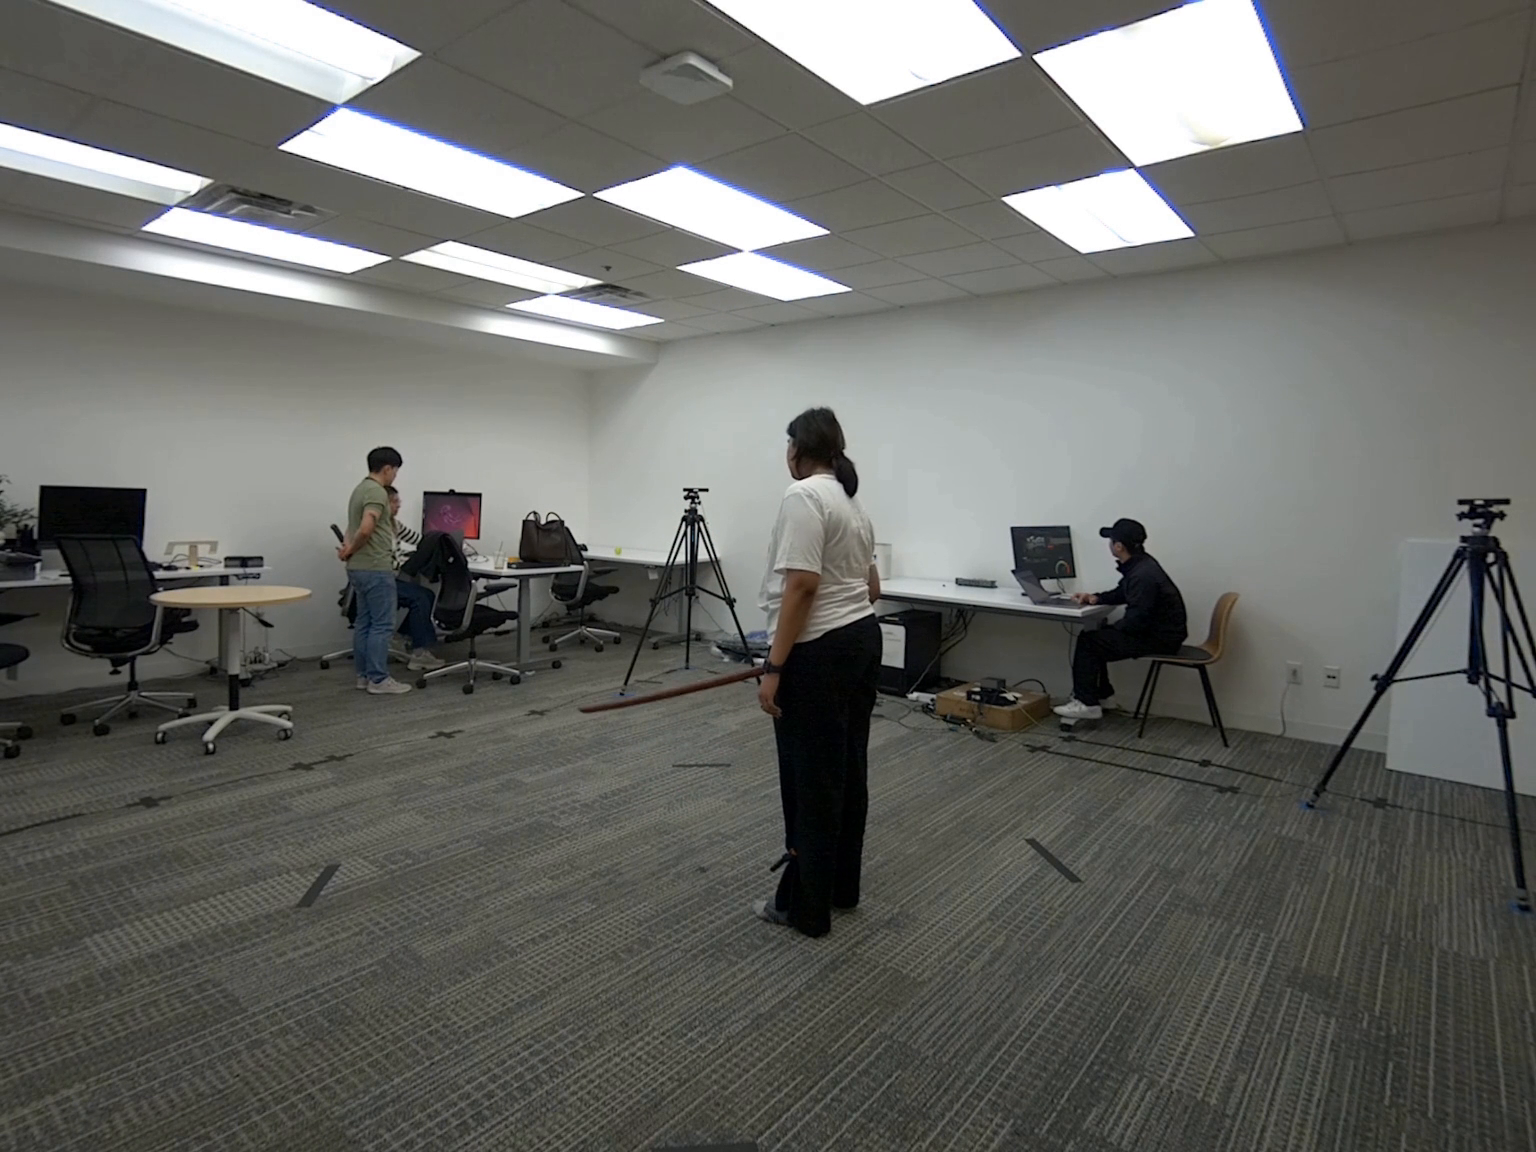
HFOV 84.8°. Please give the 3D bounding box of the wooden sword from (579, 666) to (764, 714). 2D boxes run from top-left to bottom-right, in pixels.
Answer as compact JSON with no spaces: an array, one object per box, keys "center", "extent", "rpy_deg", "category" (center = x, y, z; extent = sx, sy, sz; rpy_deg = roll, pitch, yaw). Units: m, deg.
[{"center":[-0.314,0.423,3.207],"extent":[1.040,0.050,0.024],"rpy_deg":[-14,26,20],"category":"wooden sword"}]
